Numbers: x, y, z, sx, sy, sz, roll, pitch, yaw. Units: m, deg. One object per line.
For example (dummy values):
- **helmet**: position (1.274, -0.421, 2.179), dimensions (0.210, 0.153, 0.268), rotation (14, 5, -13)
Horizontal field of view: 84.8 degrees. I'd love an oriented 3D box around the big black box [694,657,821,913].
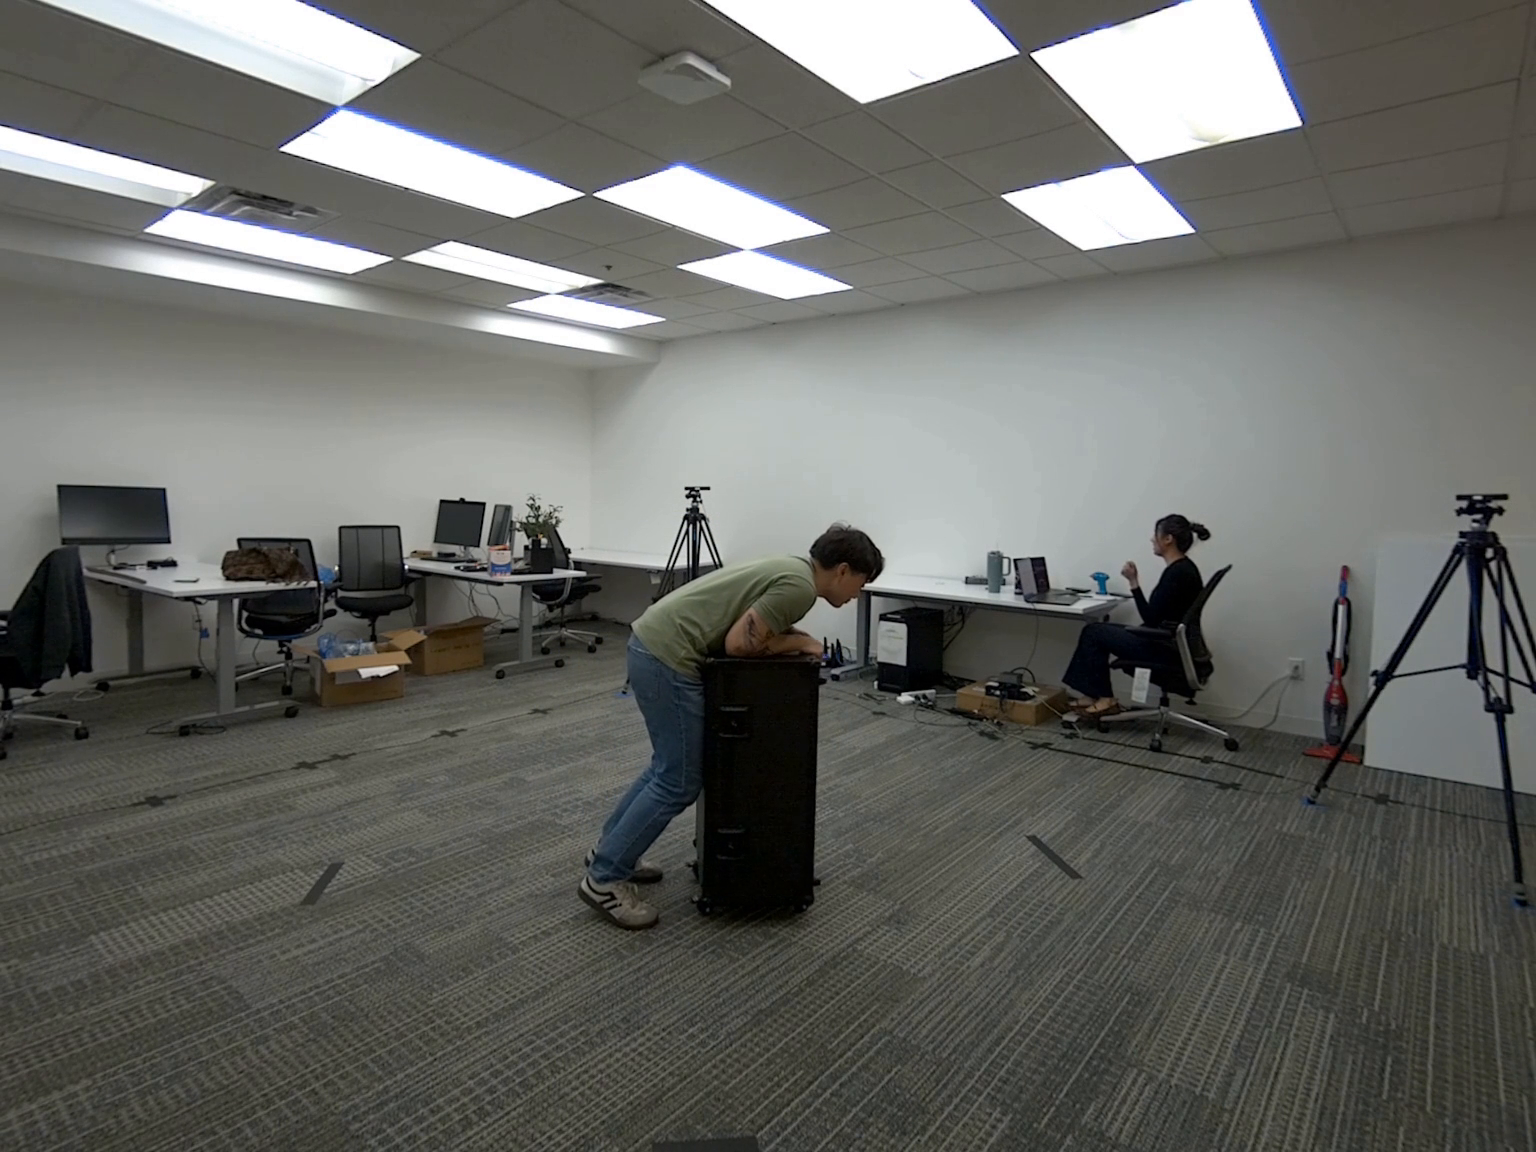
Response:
- **big black box**: position (-0.045, 0.673, 2.911), dimensions (0.393, 0.860, 0.526), rotation (1, 3, -8)
